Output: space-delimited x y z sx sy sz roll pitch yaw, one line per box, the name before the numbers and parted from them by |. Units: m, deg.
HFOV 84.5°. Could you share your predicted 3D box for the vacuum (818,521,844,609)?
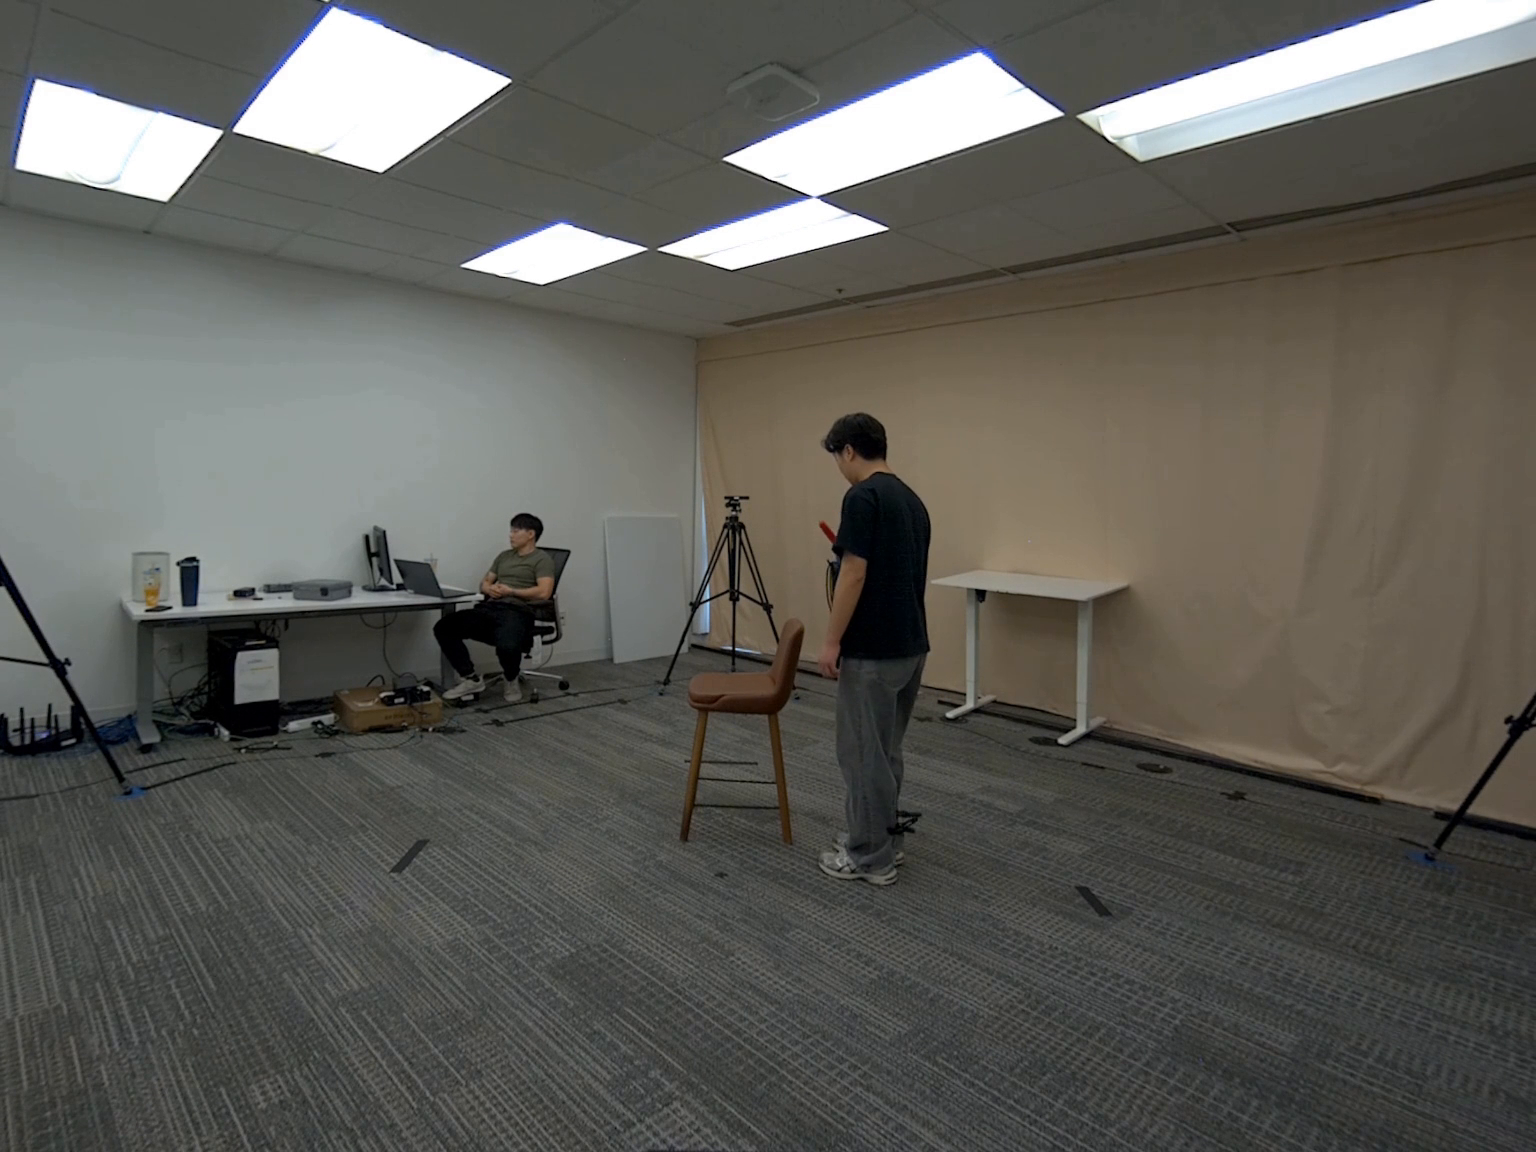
vacuum | 0.320 0.290 3.532 0.143 1.047 0.255 -12 2 -11
